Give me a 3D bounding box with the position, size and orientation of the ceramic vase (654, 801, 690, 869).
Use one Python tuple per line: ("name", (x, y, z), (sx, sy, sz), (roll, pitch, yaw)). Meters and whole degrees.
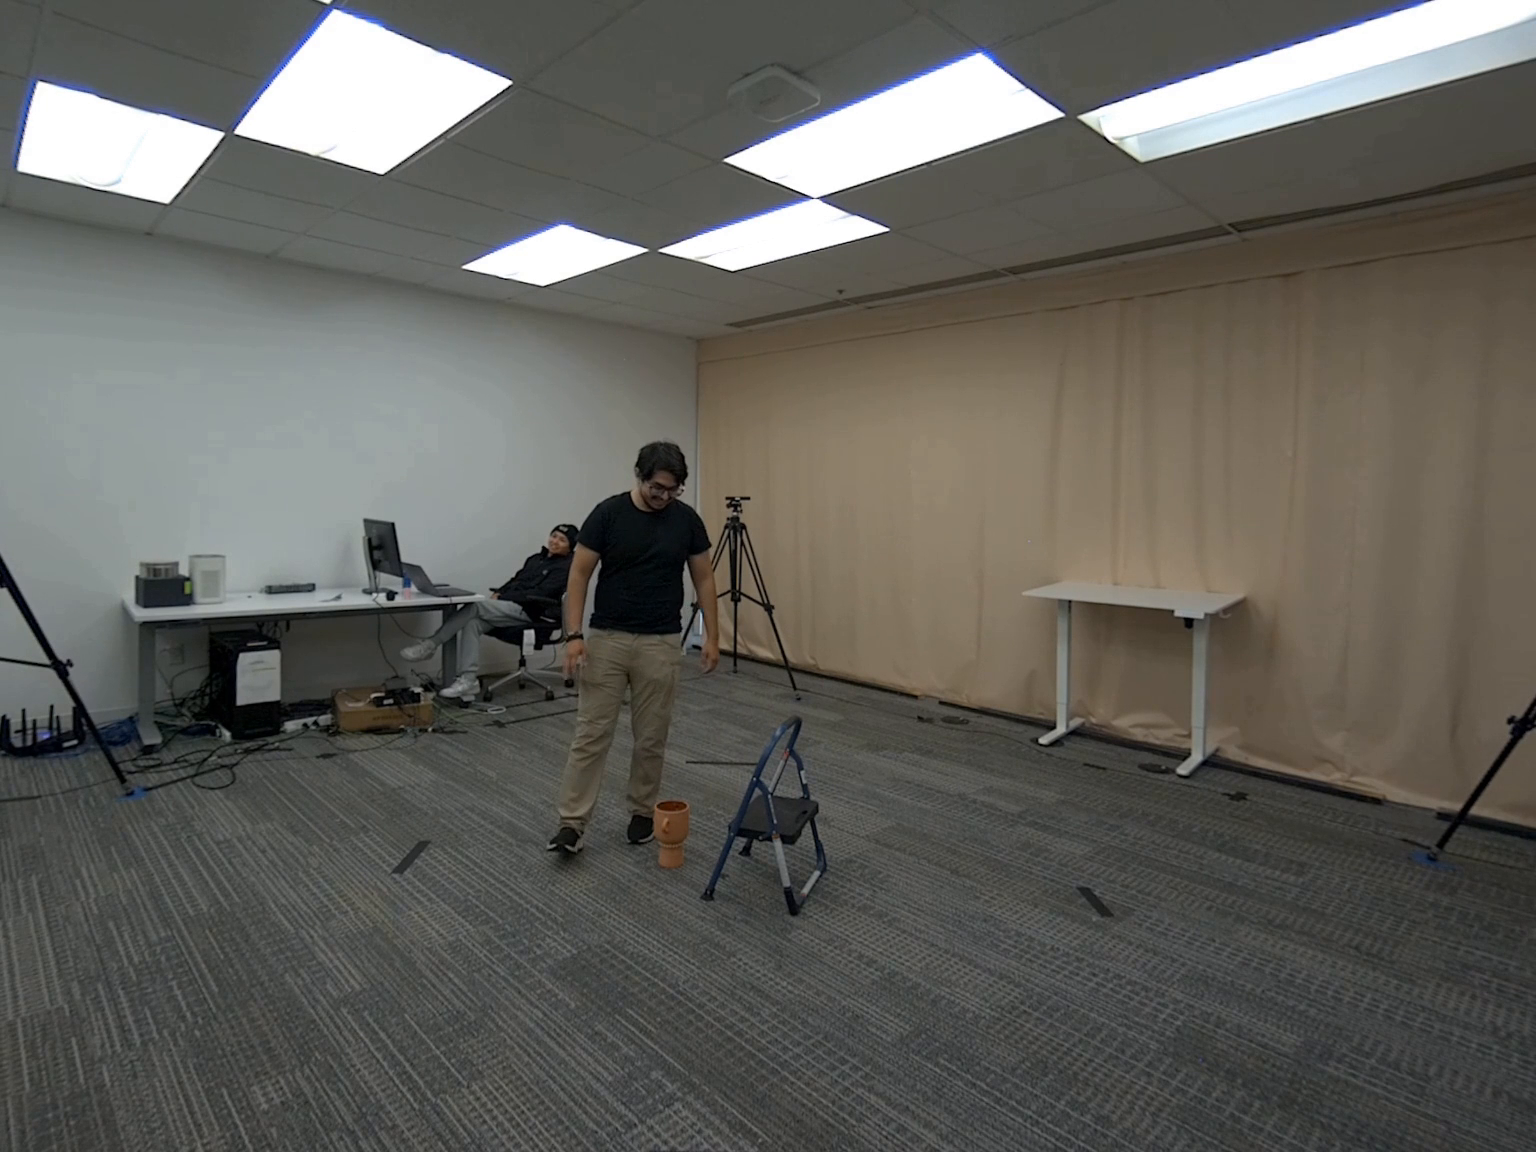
("ceramic vase", (-0.371, 0.975, 3.201), (0.155, 0.219, 0.138), (-2, 4, -38))
